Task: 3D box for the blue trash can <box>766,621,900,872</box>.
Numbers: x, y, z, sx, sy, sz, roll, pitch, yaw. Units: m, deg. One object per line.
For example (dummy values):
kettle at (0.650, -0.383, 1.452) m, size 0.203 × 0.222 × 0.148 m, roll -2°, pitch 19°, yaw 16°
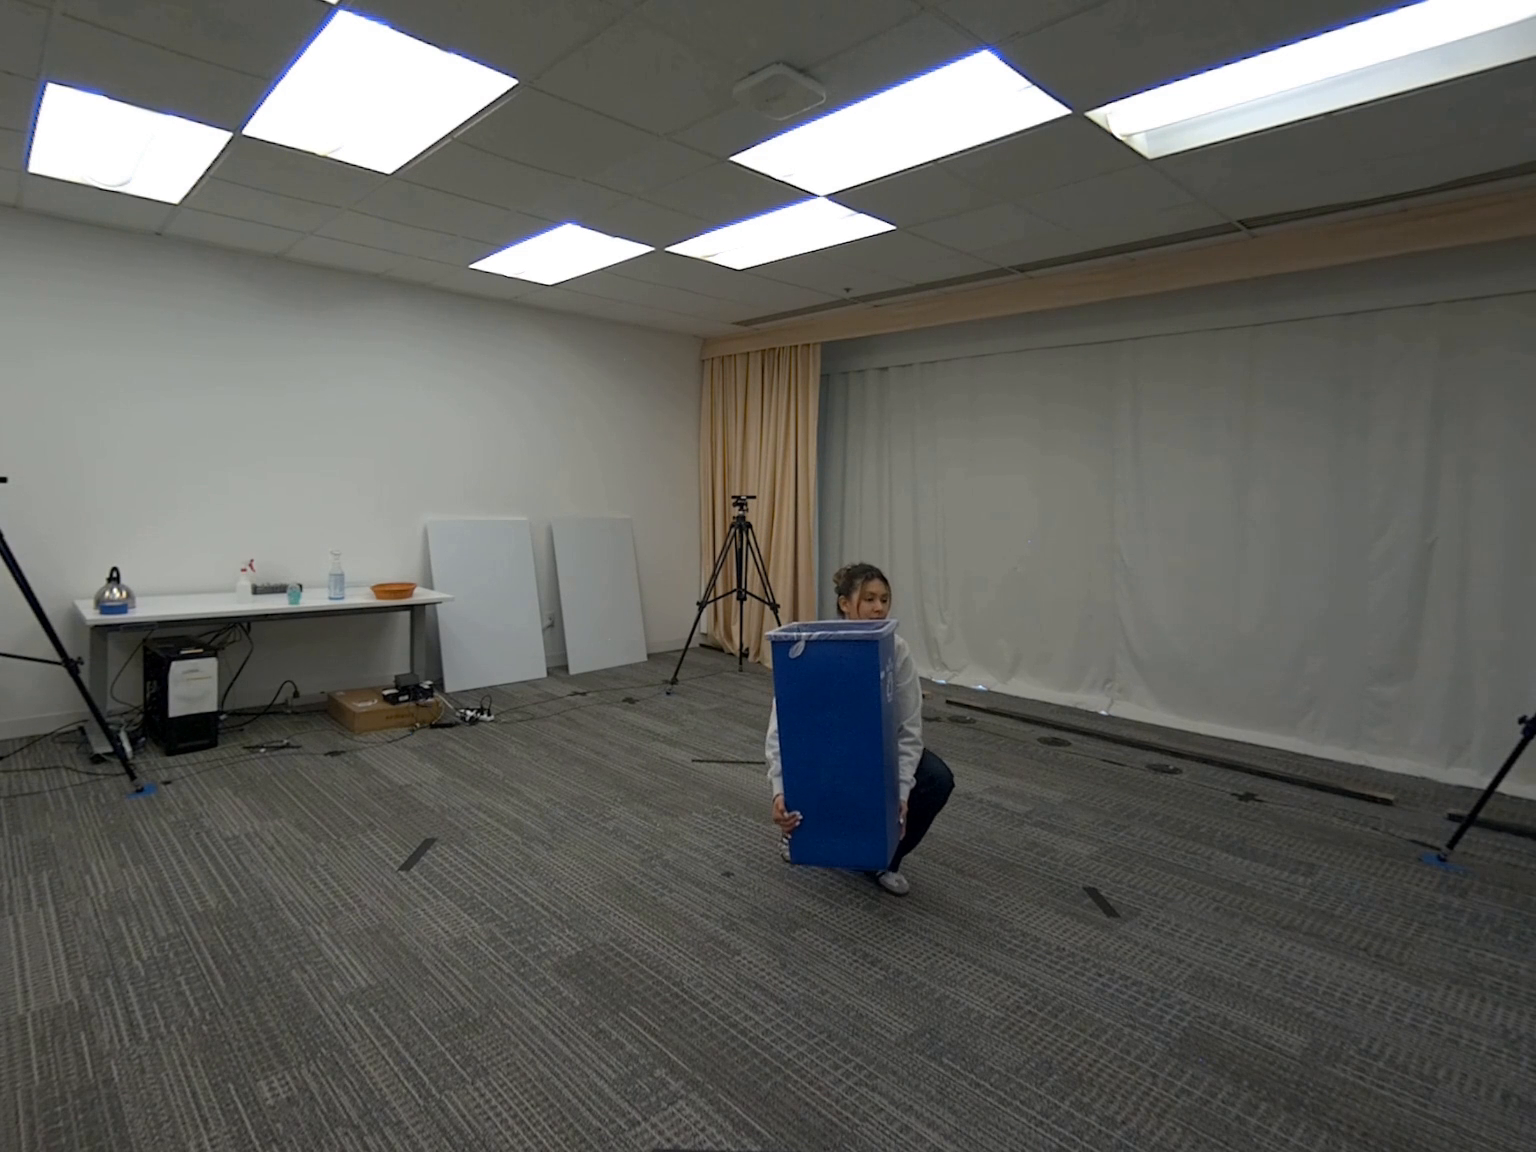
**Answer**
blue trash can at (0.226, 0.512, 2.682) m, size 0.383 × 0.713 × 0.369 m, roll -3°, pitch 0°, yaw 19°
